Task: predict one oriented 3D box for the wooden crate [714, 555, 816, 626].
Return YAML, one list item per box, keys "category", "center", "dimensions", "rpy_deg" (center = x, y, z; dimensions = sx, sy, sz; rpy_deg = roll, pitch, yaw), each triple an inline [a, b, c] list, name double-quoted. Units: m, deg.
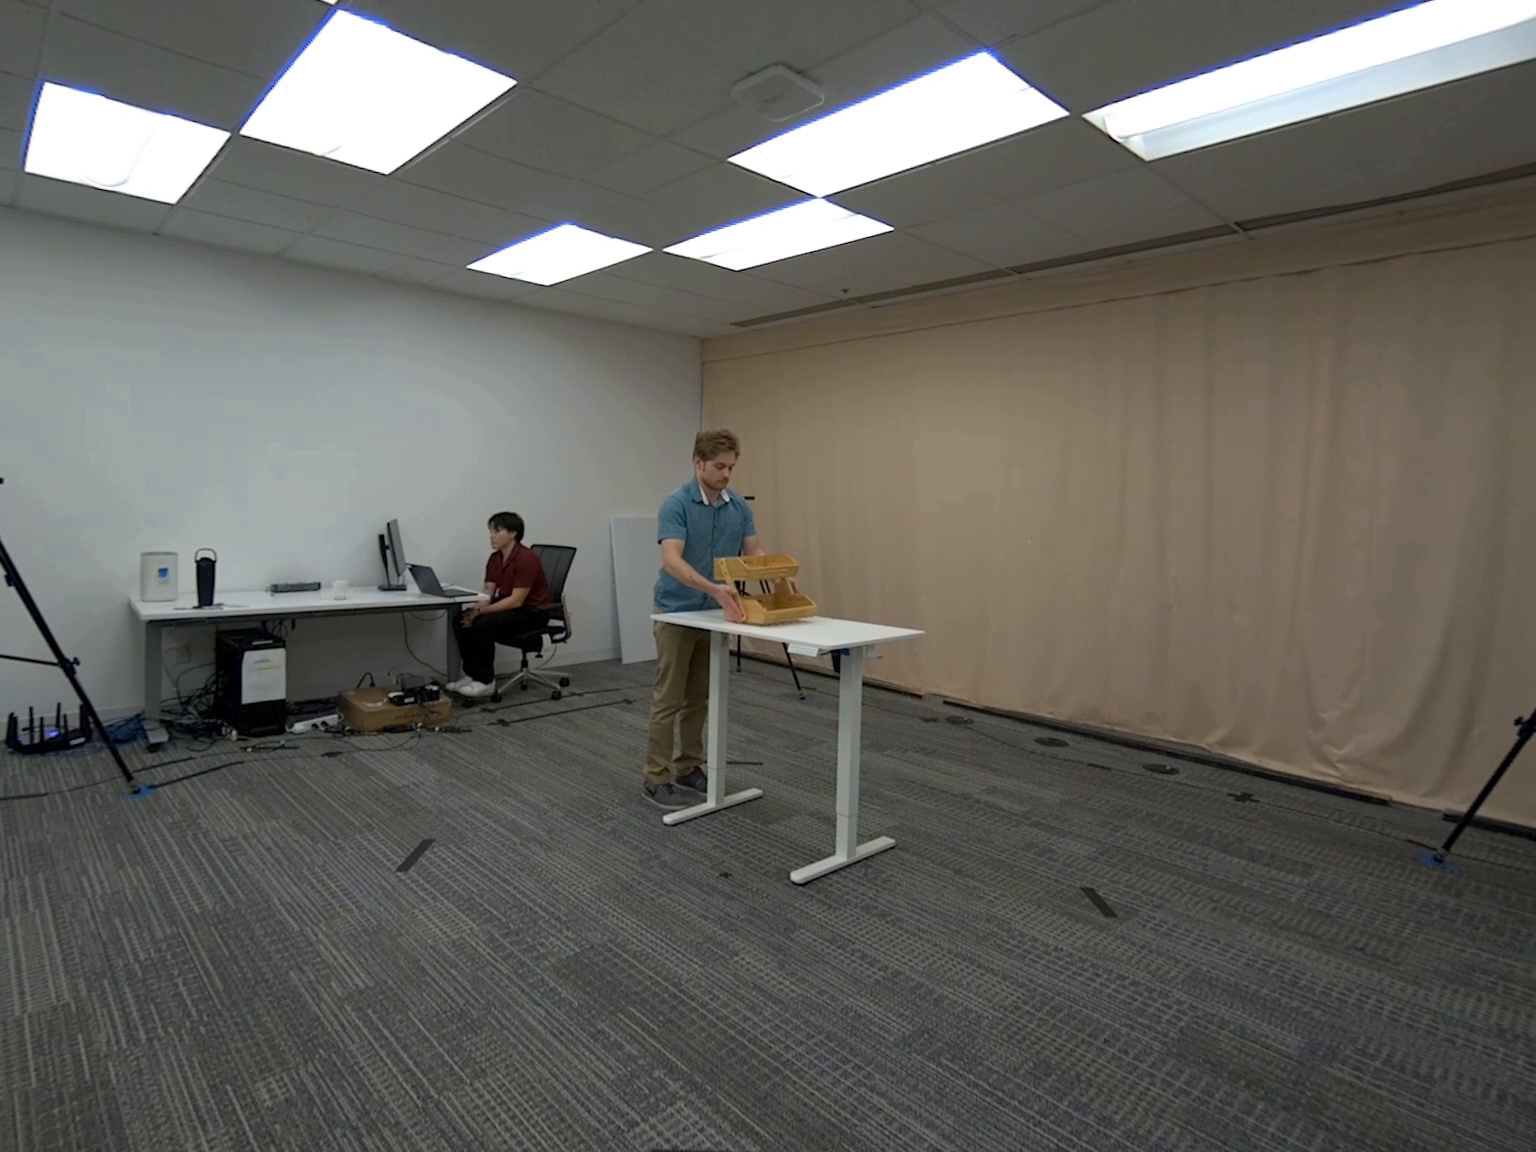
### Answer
- category: "wooden crate"
  center: [-0.016, 0.047, 3.519]
  dimensions: [0.317, 0.273, 0.309]
  rpy_deg: [-3, 2, -44]
